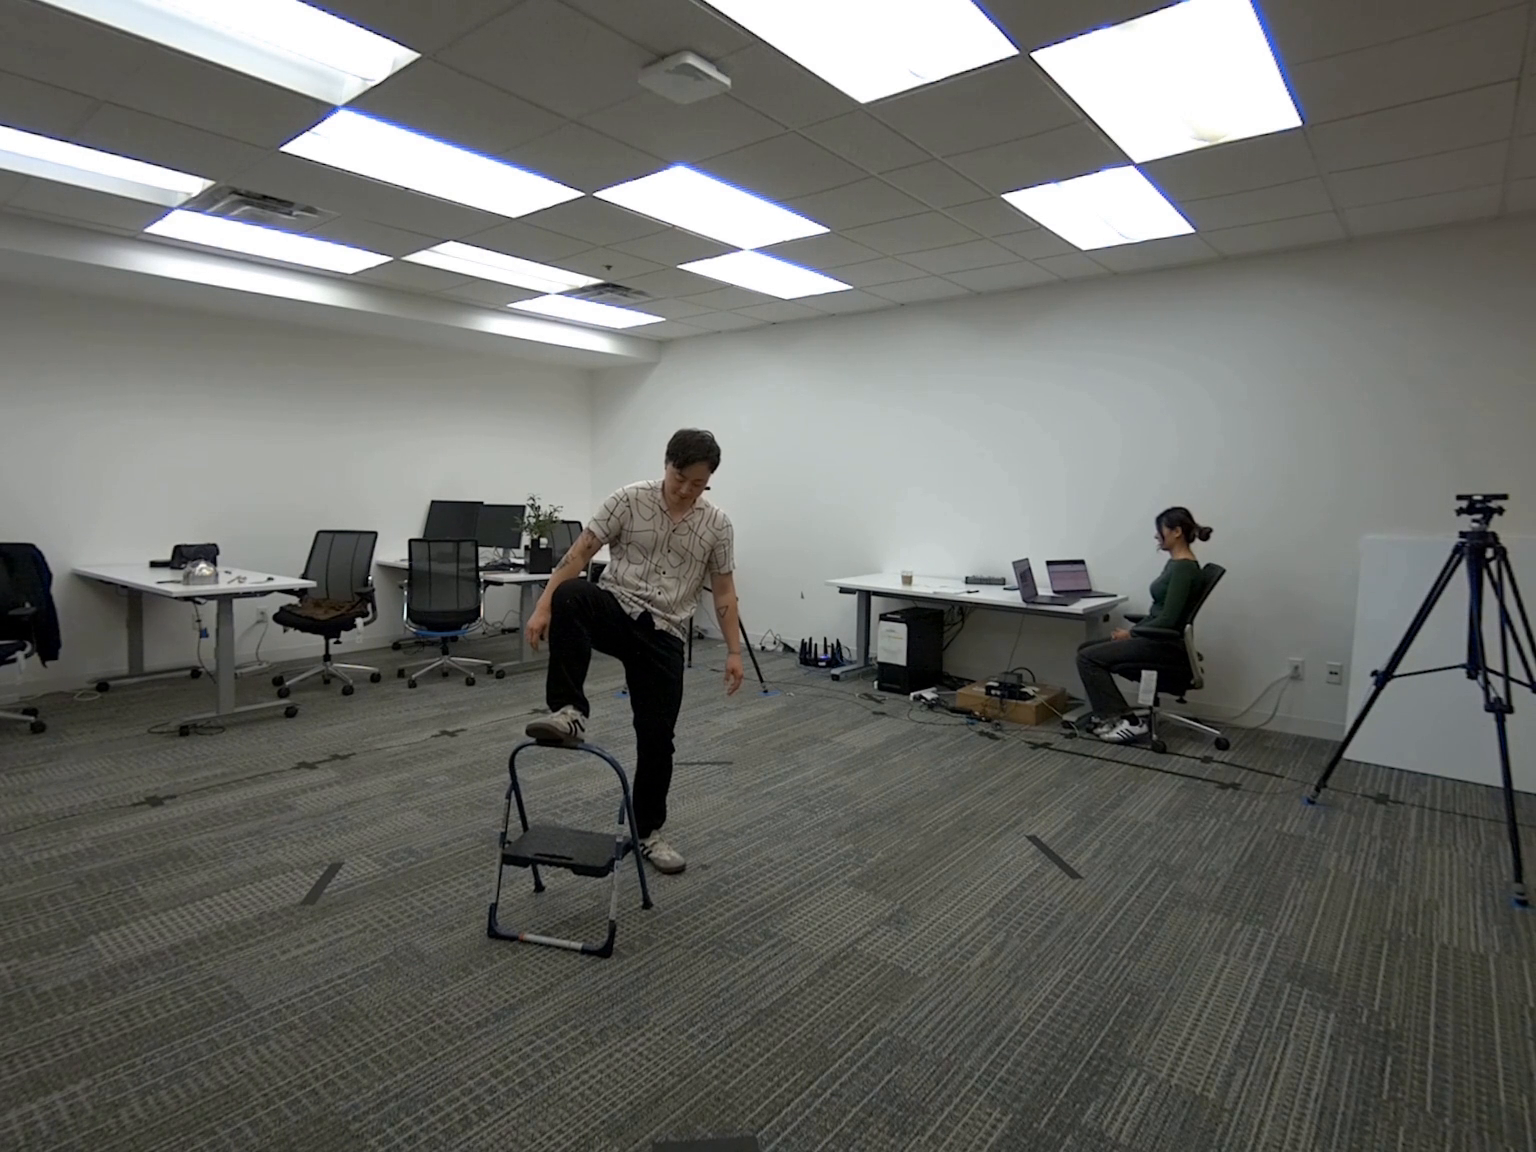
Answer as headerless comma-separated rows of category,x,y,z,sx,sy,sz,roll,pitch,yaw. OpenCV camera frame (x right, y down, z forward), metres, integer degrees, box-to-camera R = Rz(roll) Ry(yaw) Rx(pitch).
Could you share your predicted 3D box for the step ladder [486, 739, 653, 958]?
step ladder,-0.638,0.797,2.693,0.438,0.604,0.345,1,4,14
